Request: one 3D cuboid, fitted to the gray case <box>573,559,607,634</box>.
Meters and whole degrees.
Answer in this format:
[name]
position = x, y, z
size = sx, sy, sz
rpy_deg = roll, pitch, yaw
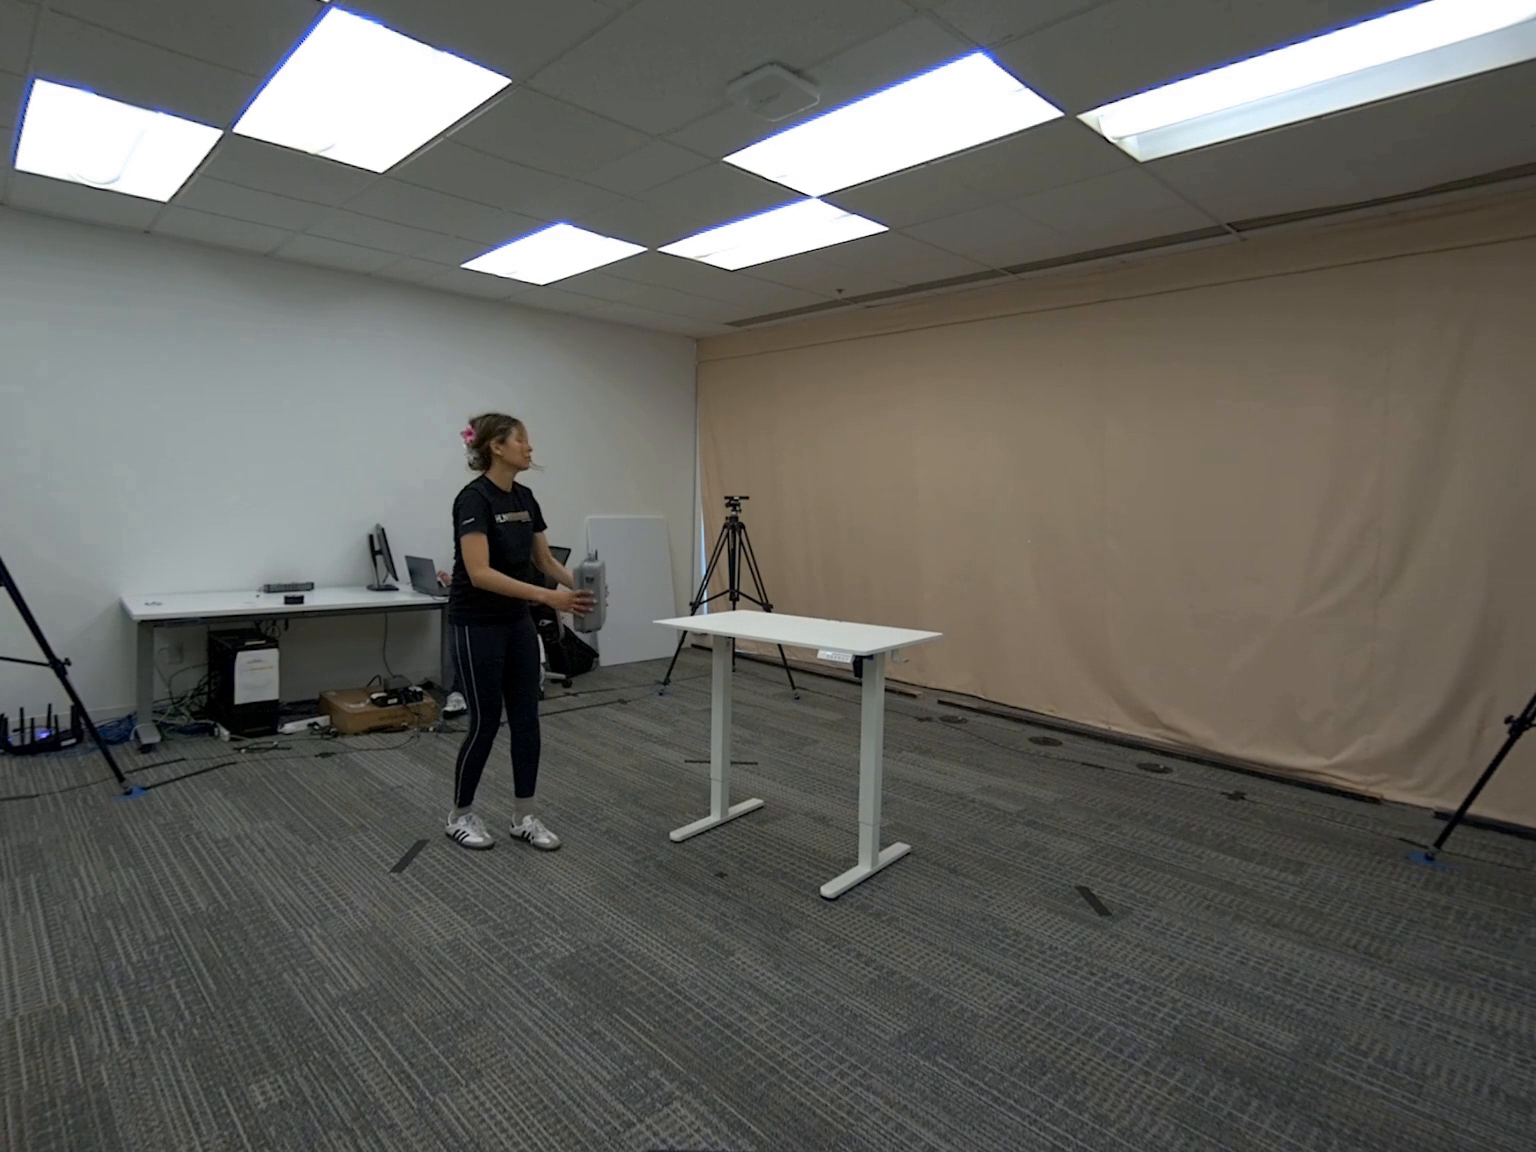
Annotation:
[gray case]
position = -0.673, 0.070, 3.155
size = 0.104, 0.259, 0.259
rpy_deg = 2, 7, -4
